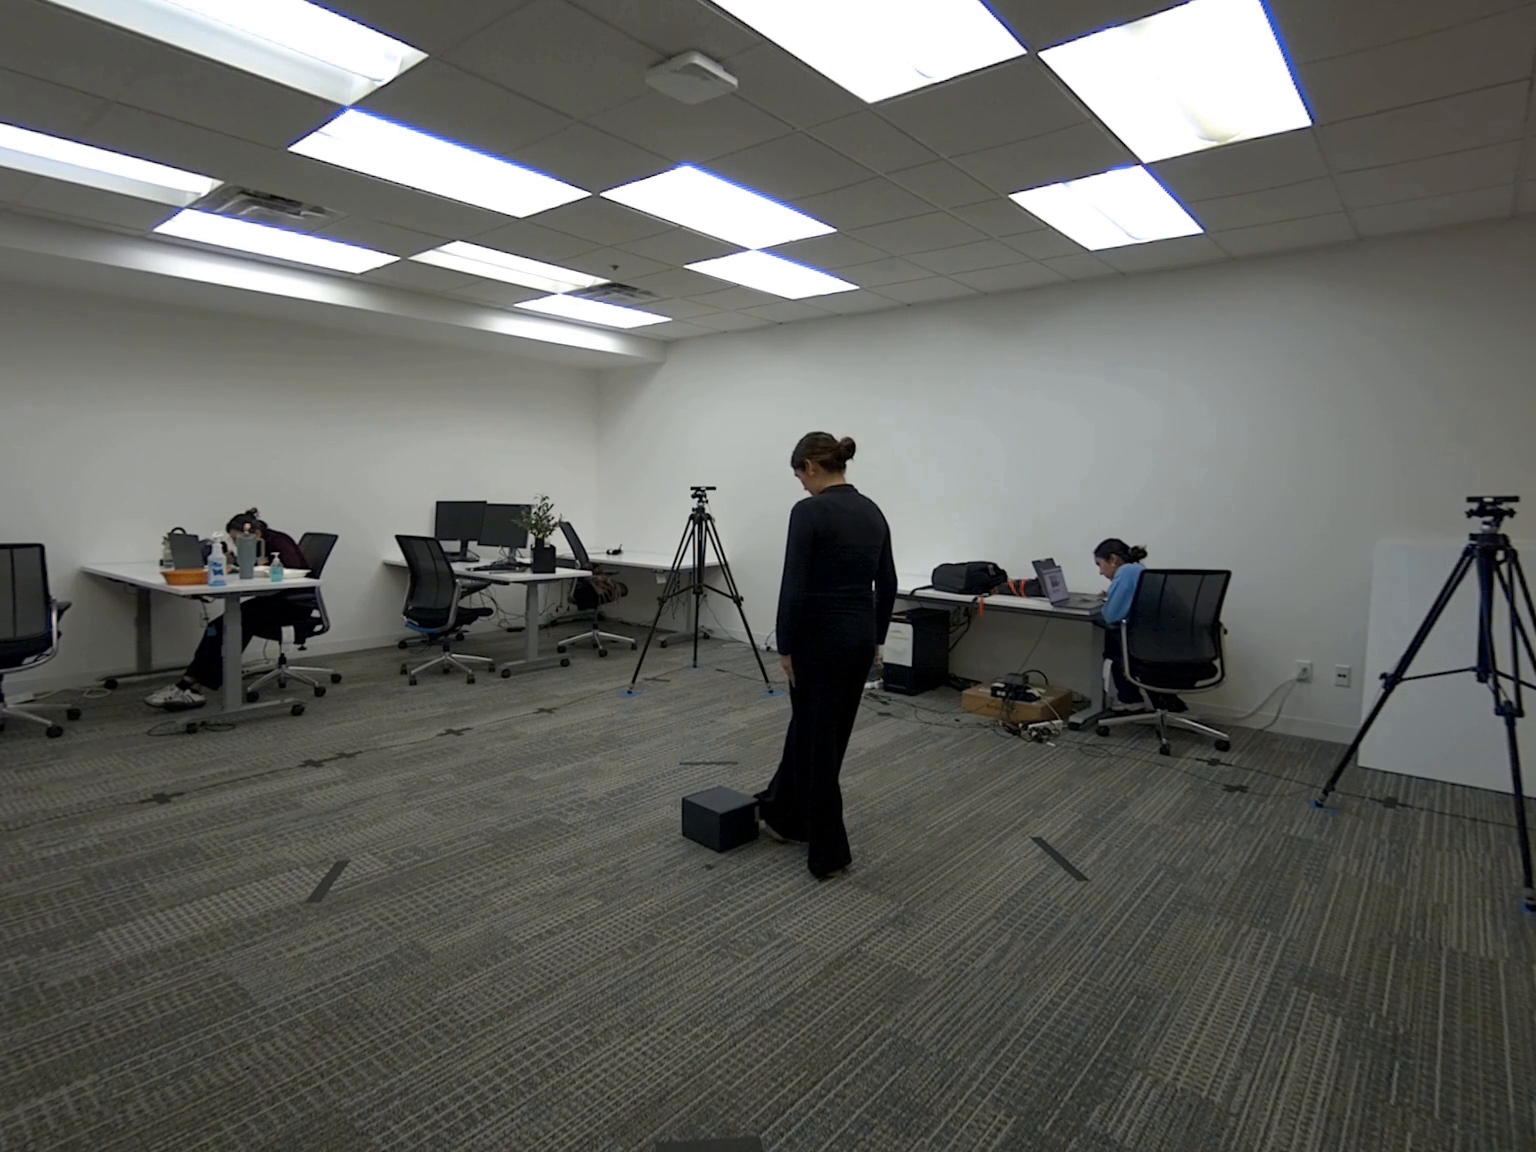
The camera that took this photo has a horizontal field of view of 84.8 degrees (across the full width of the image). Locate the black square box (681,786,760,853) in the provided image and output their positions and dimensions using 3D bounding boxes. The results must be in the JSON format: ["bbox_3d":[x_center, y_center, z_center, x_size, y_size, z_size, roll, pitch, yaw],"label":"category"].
[{"bbox_3d":[-0.201,0.956,3.381,0.210,0.155,0.236,-3,6,-45],"label":"black square box"}]
